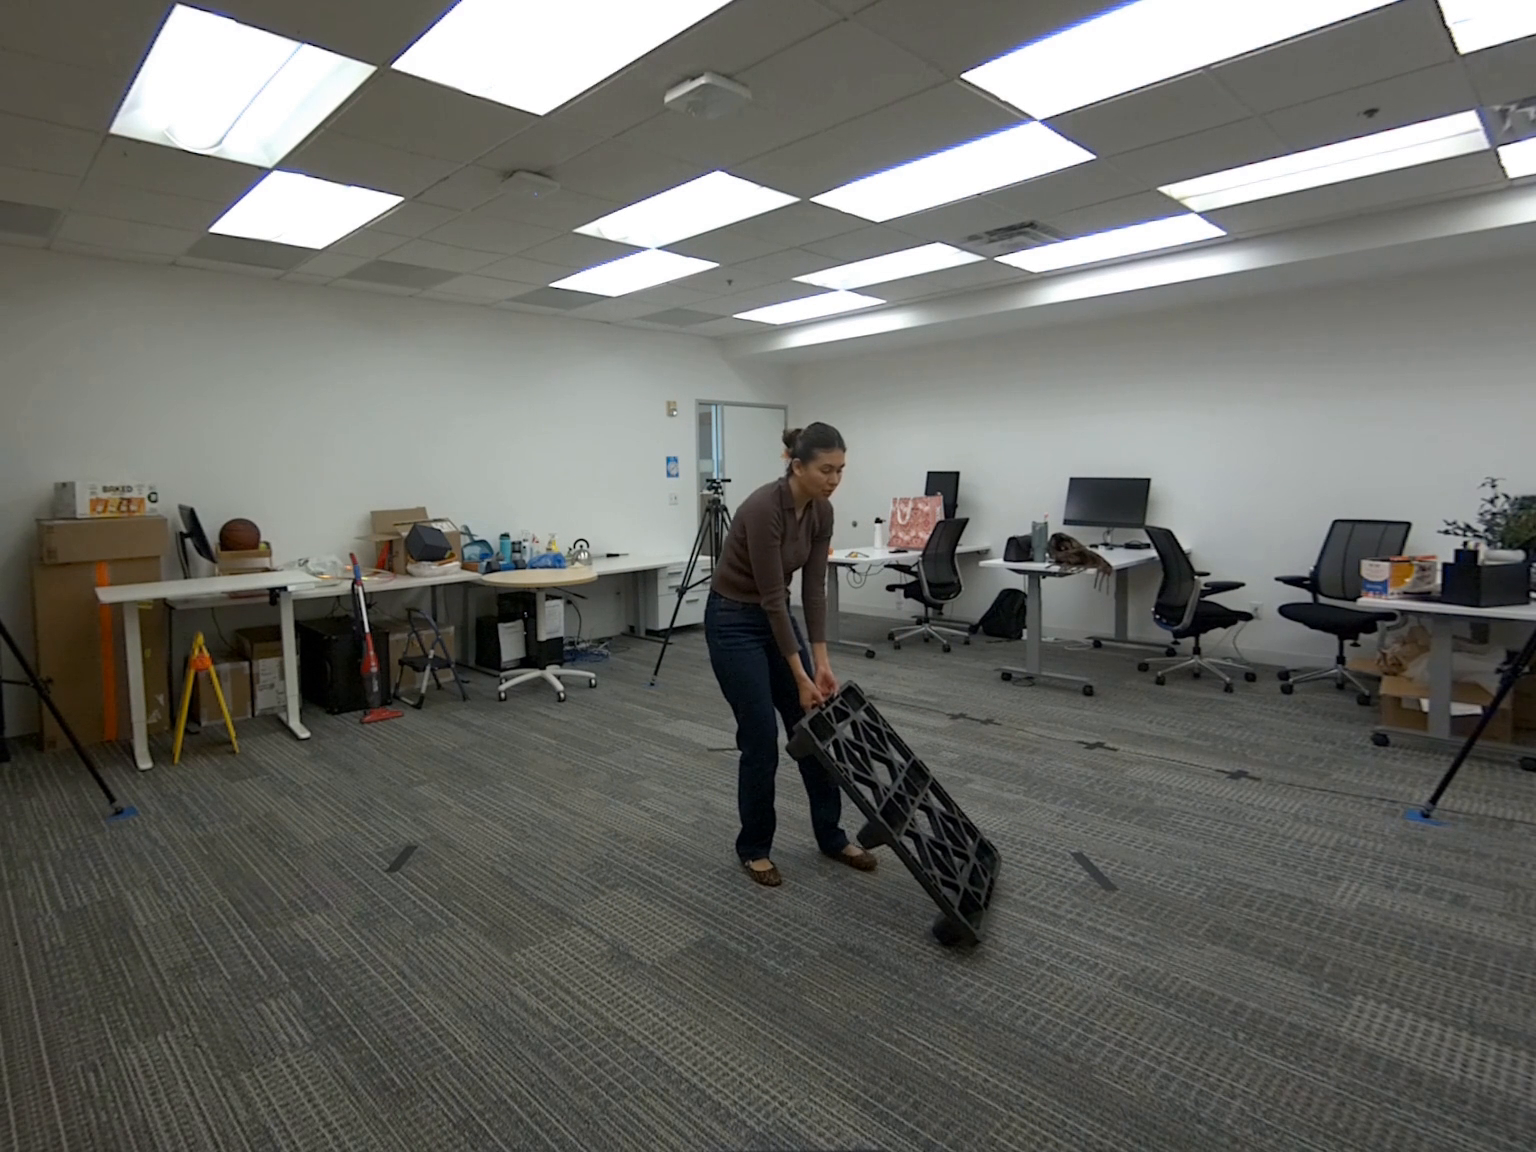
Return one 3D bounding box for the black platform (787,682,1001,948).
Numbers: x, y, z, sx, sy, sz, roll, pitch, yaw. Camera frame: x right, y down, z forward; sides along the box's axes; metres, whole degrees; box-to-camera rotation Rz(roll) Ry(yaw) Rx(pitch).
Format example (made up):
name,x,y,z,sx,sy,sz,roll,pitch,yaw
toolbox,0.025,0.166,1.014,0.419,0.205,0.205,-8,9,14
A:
name,x,y,z,sx,sy,sz,roll,pitch,yaw
black platform,0.416,0.751,2.816,0.143,0.819,0.594,-44,-12,19
